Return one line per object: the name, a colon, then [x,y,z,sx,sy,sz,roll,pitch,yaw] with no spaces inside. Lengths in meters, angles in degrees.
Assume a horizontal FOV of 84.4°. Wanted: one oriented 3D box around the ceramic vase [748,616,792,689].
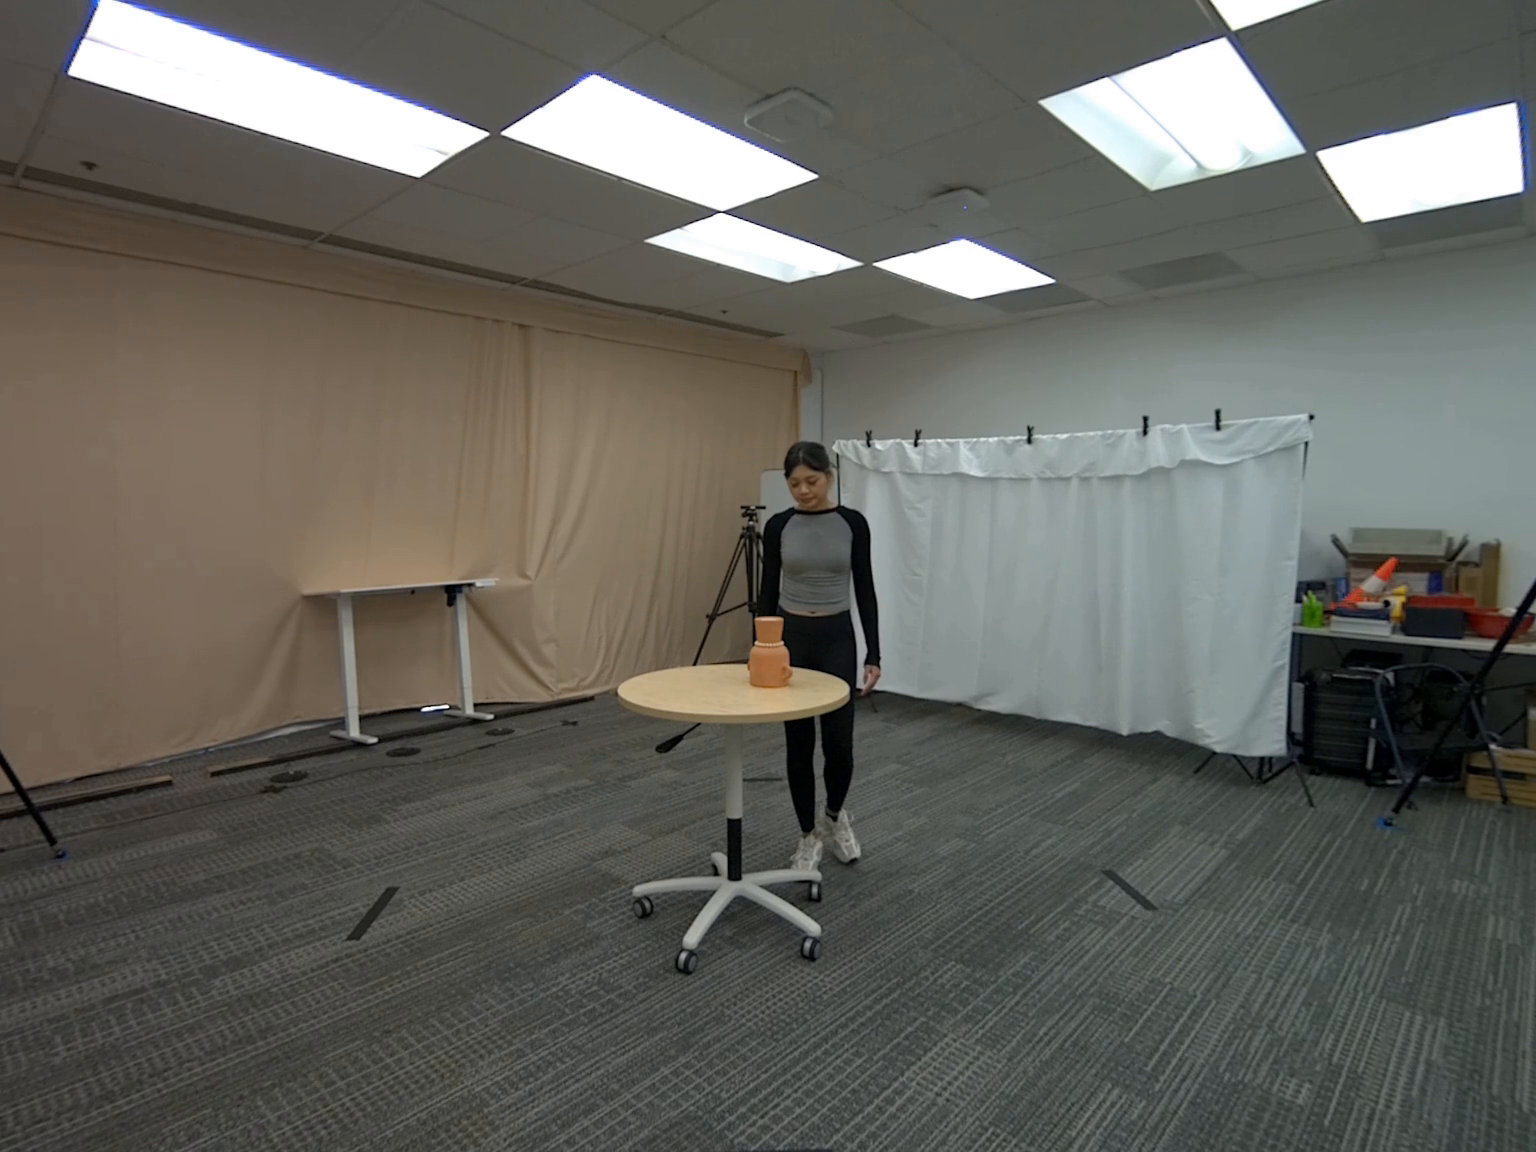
ceramic vase: [0.008,0.251,2.830,0.160,0.219,0.134,-1,3,4]
